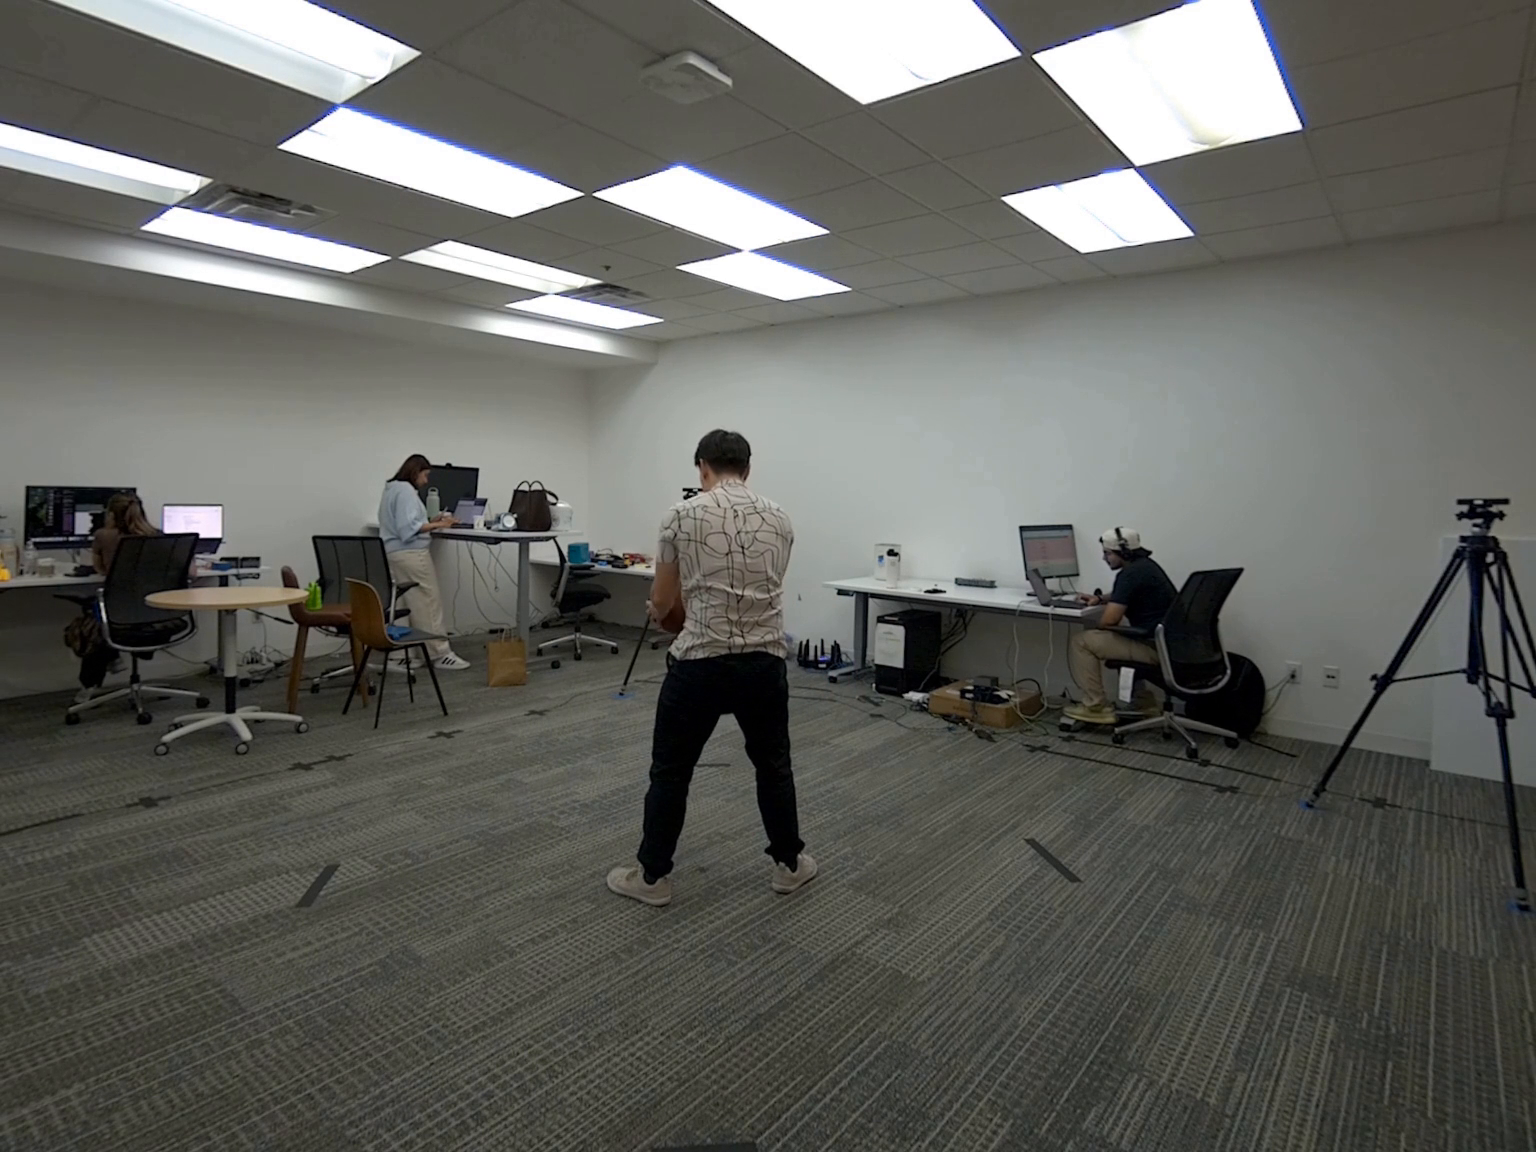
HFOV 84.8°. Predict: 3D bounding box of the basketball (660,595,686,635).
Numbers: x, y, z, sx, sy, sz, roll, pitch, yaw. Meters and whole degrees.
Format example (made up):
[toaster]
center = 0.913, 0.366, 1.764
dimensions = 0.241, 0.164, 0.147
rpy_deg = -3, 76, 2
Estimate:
[basketball]
center = -0.352, 0.101, 3.328
dimensions = 0.235, 0.235, 0.237
rpy_deg = 1, 4, -2
